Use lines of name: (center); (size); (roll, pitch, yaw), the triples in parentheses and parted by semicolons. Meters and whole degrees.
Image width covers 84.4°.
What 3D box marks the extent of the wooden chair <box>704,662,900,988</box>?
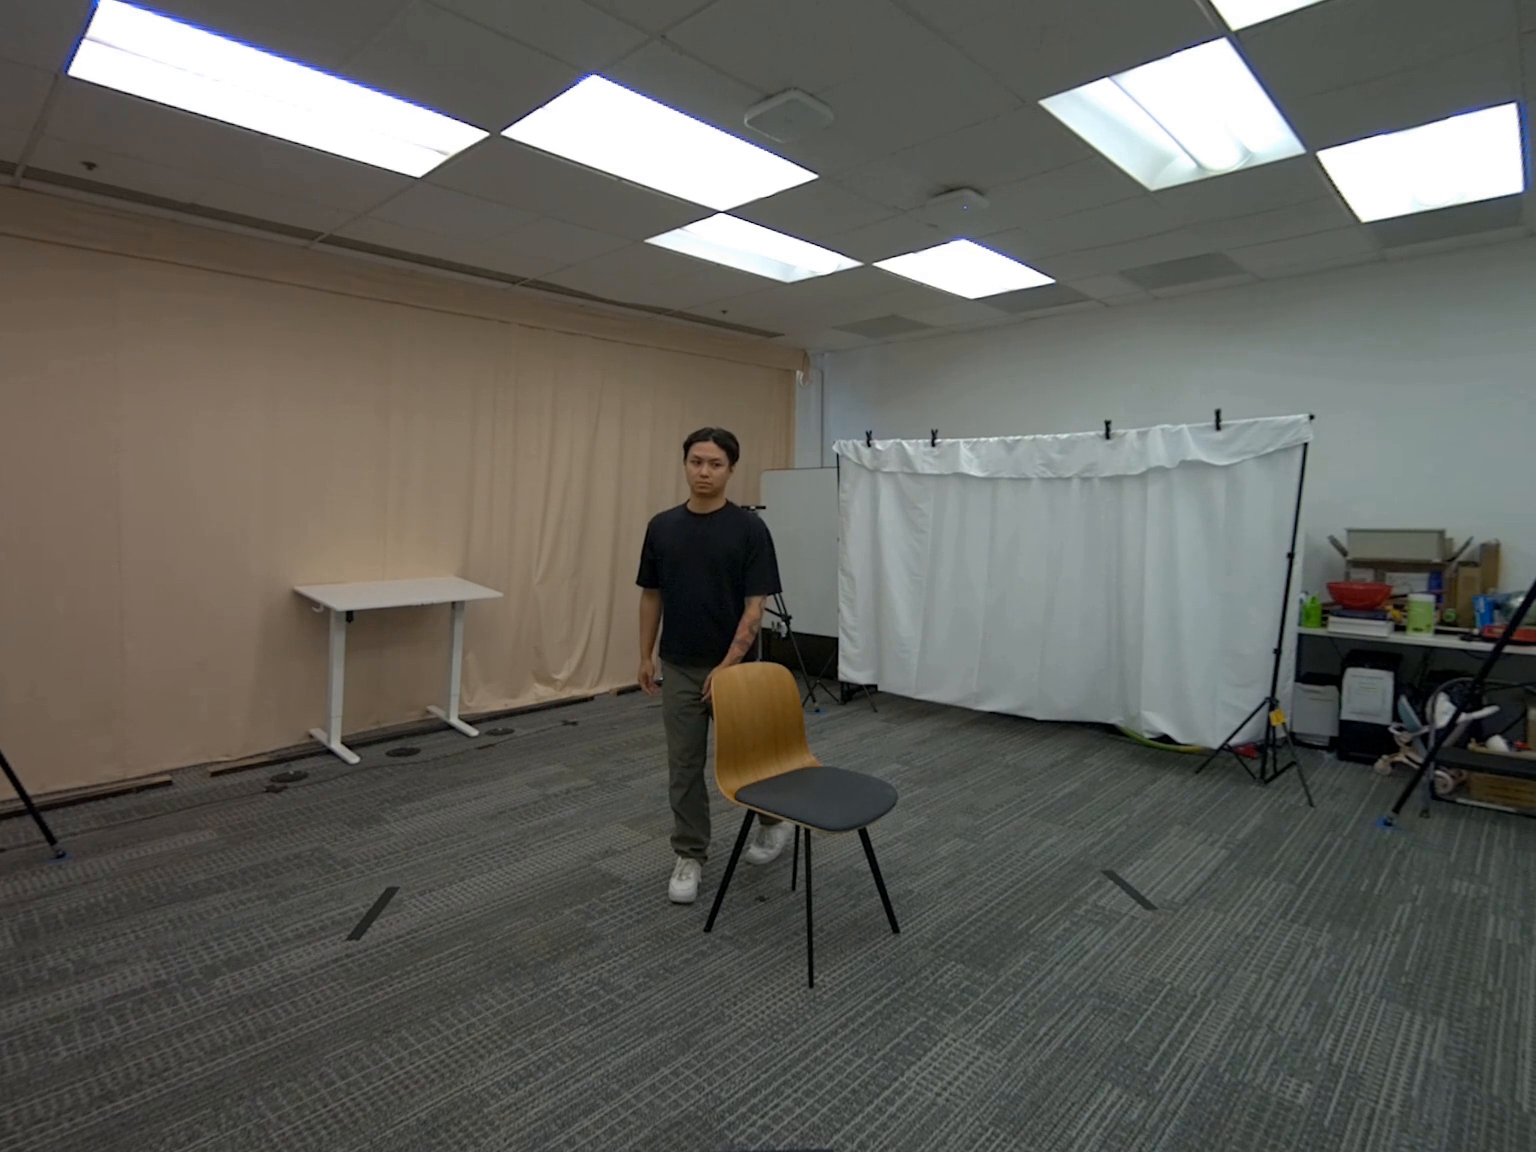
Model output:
wooden chair: (0.122, 0.740, 2.707); (0.539, 0.877, 0.463); (-3, 0, 45)
